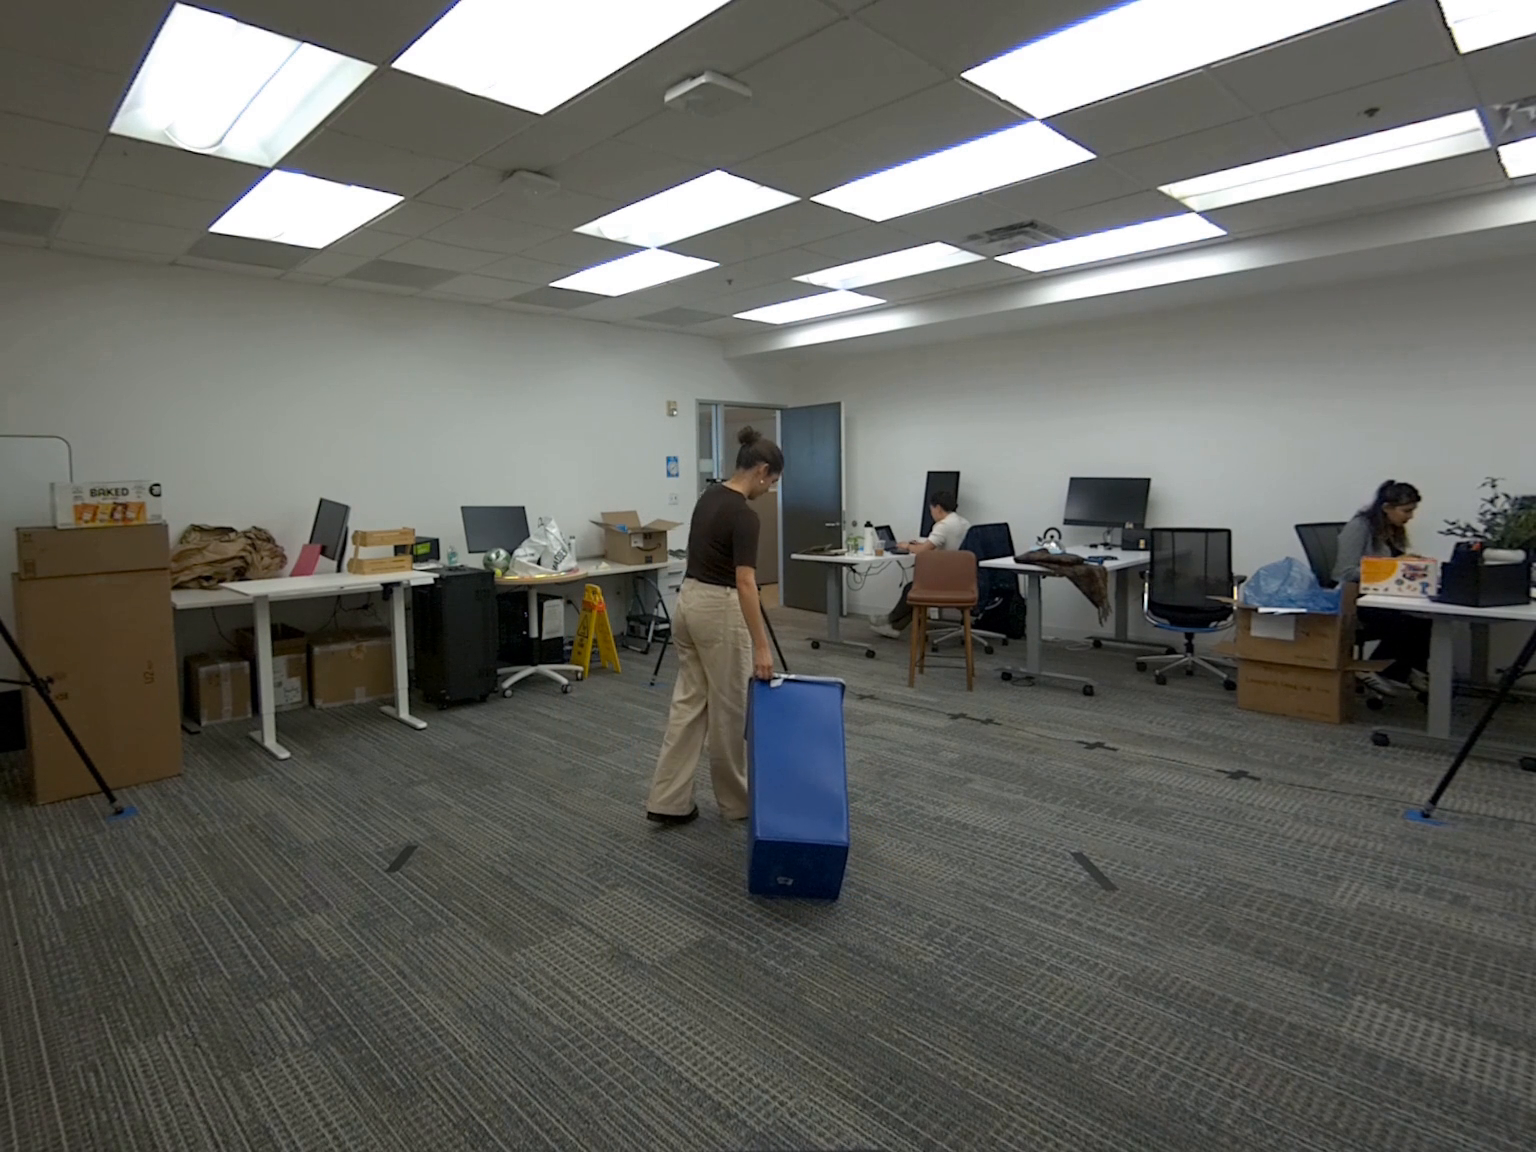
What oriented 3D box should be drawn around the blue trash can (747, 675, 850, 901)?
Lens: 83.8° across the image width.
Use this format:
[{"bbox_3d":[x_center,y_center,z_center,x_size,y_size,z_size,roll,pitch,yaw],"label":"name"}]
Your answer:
[{"bbox_3d":[0.100,0.737,3.038,0.378,0.365,0.731,4,37,-2],"label":"blue trash can"}]
